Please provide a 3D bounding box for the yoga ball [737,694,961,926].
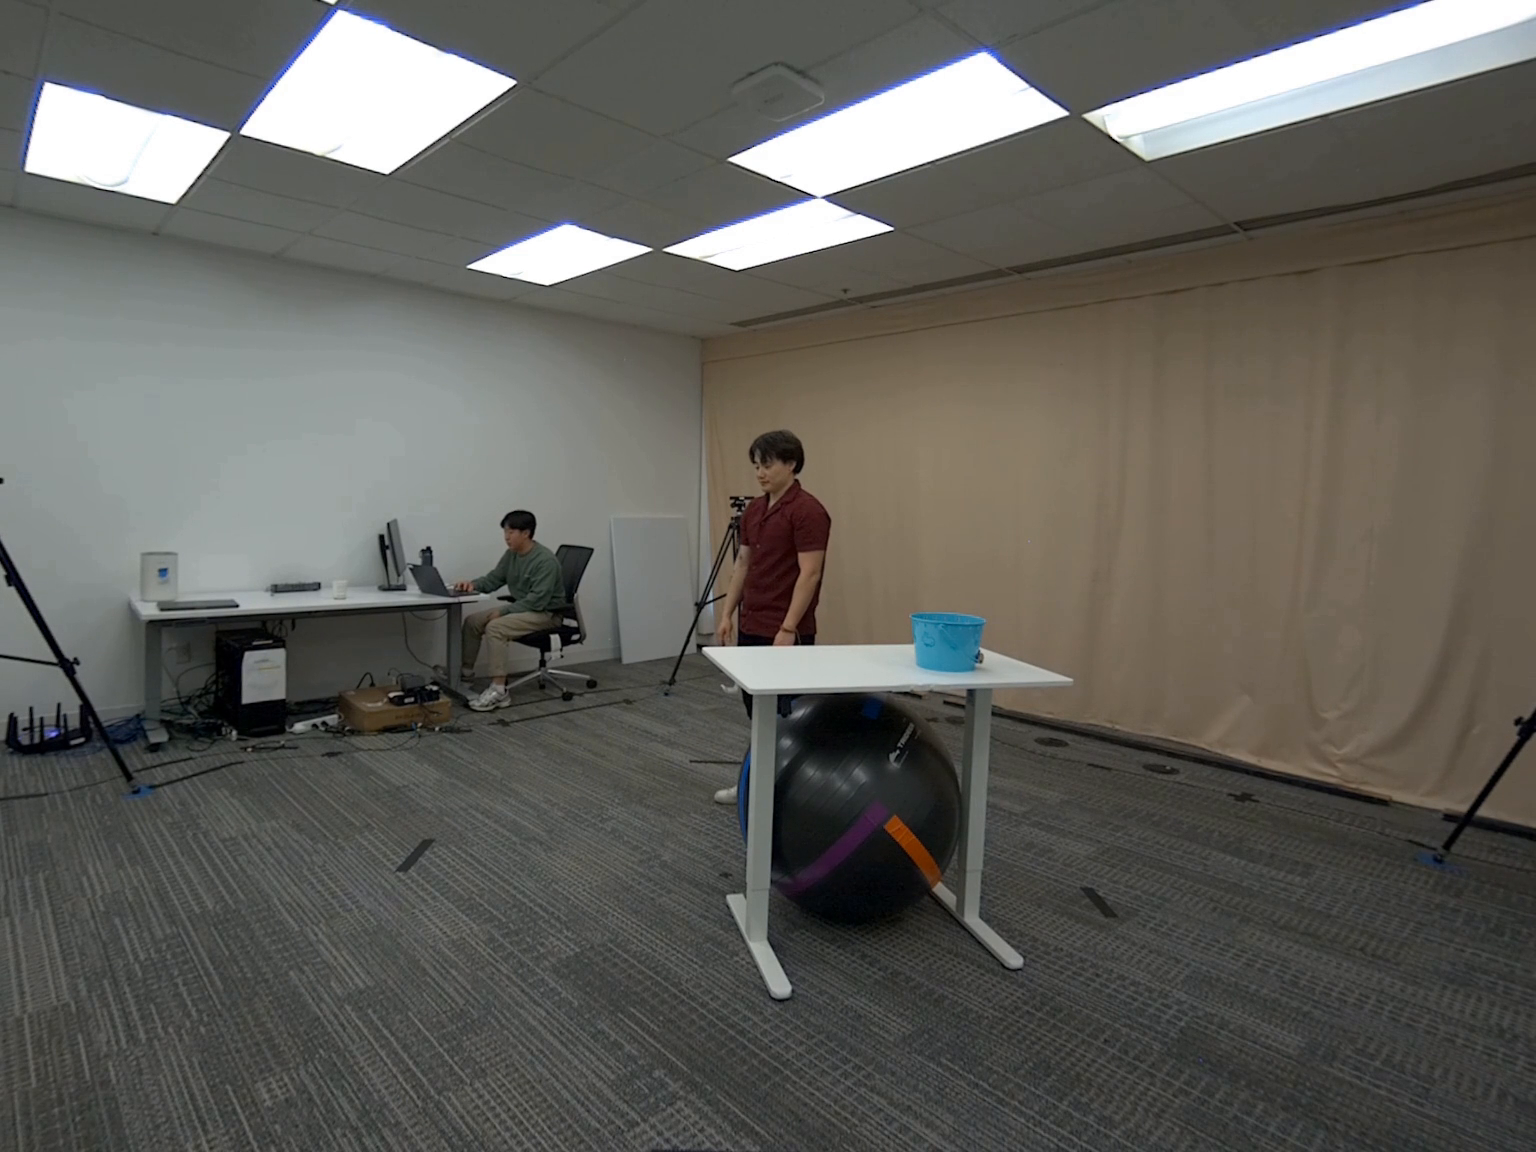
[{"bbox_3d":[0.264,0.764,2.865,0.757,0.756,0.760,1,4,-1],"label":"yoga ball"}]
